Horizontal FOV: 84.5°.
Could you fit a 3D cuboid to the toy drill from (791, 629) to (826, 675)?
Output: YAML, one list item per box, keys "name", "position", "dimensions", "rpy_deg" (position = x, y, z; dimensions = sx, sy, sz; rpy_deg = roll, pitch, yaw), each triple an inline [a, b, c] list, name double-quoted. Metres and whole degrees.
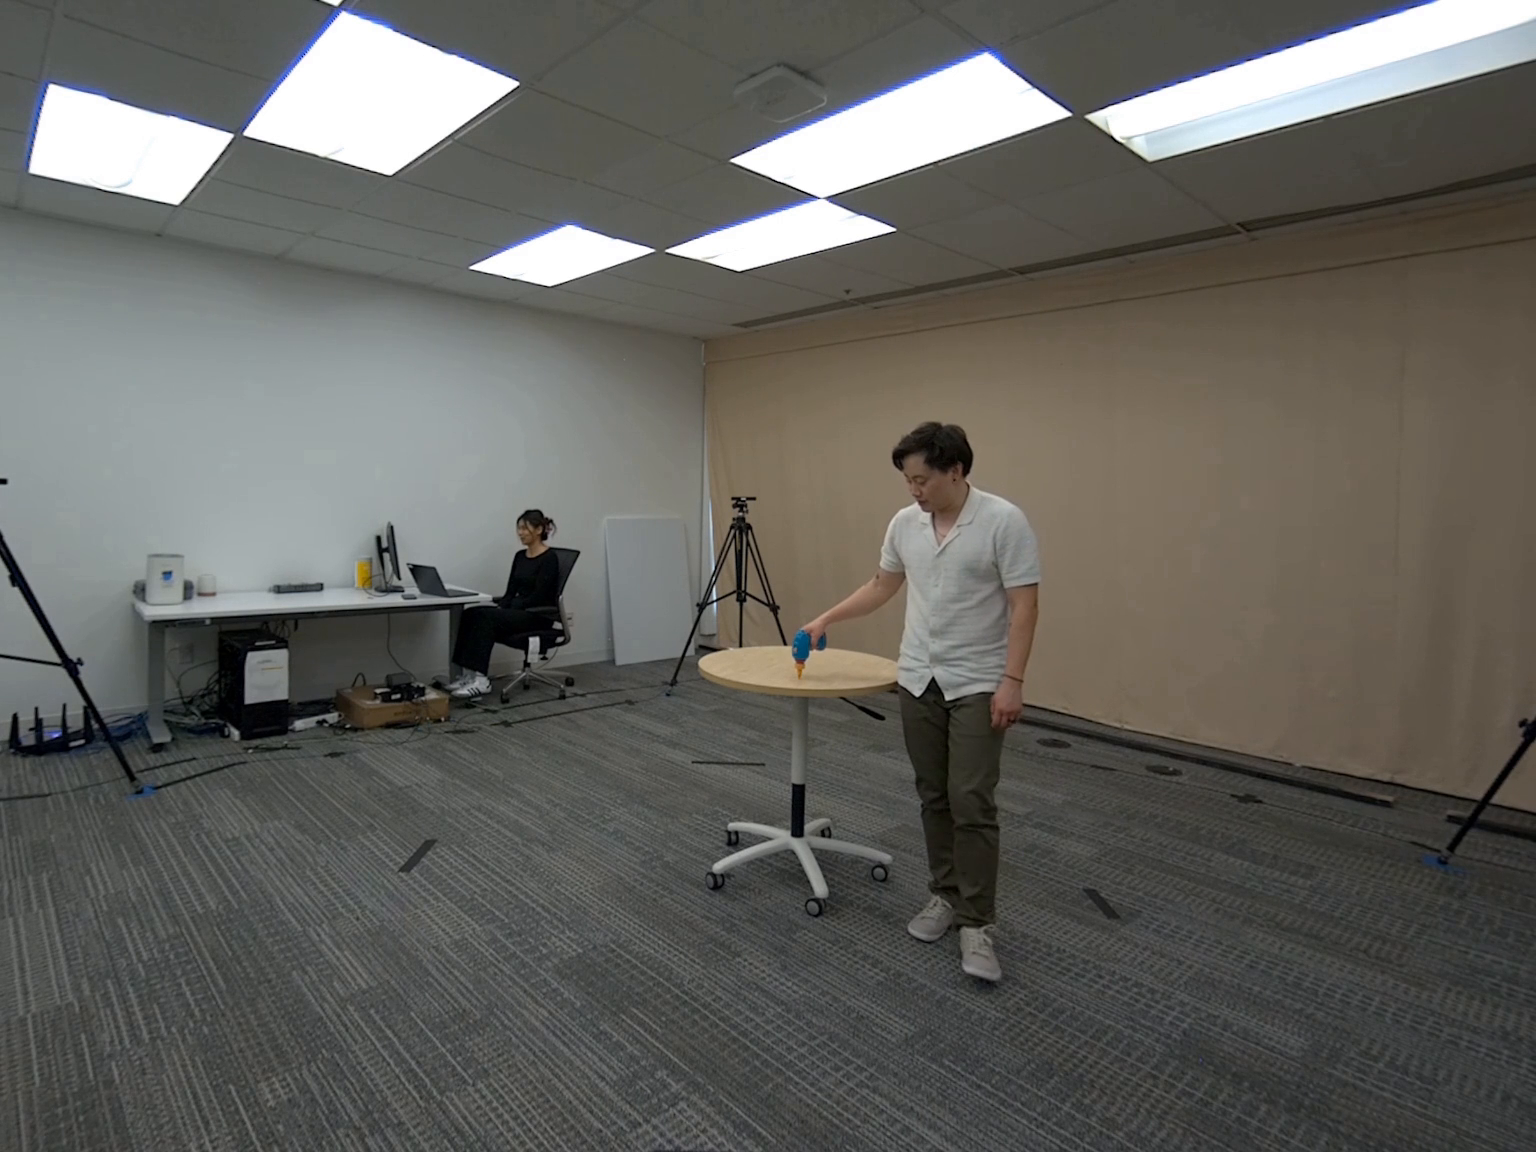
- name: "toy drill"
  position: [0.135, 0.265, 2.887]
  dimensions: [0.062, 0.169, 0.143]
  rpy_deg: [2, 3, 44]
